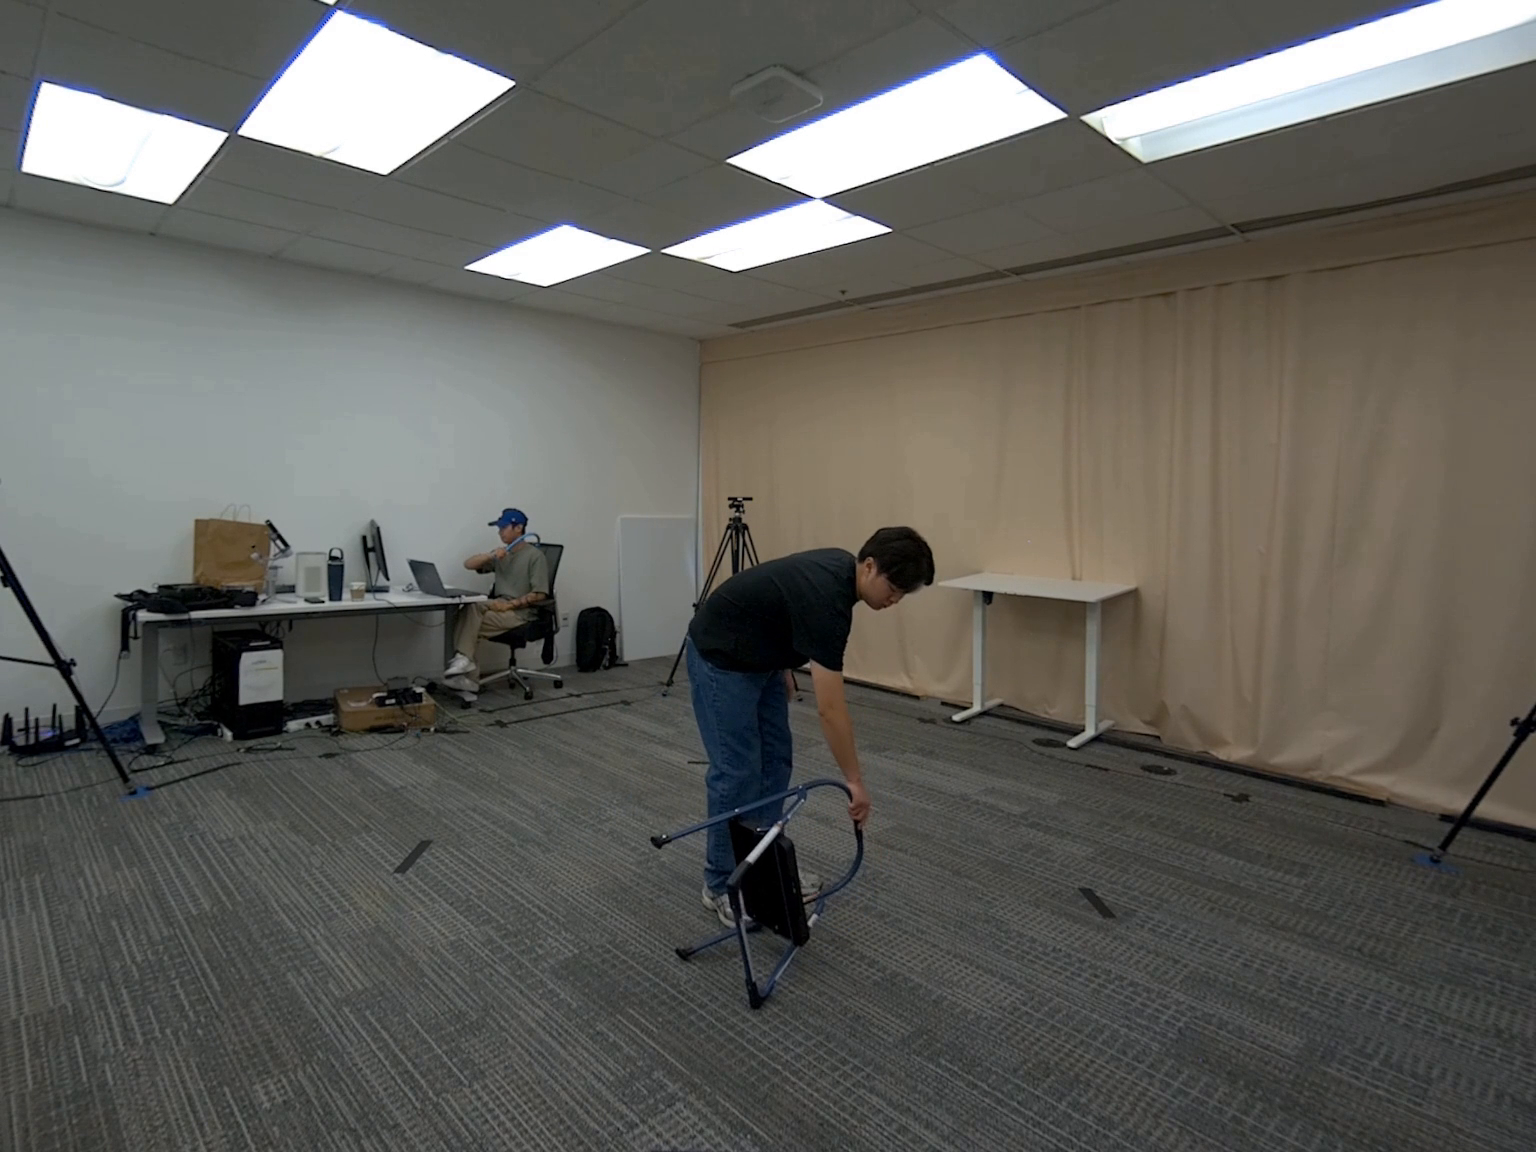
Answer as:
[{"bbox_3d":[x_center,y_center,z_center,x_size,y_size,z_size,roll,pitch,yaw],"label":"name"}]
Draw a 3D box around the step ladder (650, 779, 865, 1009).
[{"bbox_3d":[0.012,0.876,2.540,0.598,0.424,0.359,-25,23,-38],"label":"step ladder"}]
